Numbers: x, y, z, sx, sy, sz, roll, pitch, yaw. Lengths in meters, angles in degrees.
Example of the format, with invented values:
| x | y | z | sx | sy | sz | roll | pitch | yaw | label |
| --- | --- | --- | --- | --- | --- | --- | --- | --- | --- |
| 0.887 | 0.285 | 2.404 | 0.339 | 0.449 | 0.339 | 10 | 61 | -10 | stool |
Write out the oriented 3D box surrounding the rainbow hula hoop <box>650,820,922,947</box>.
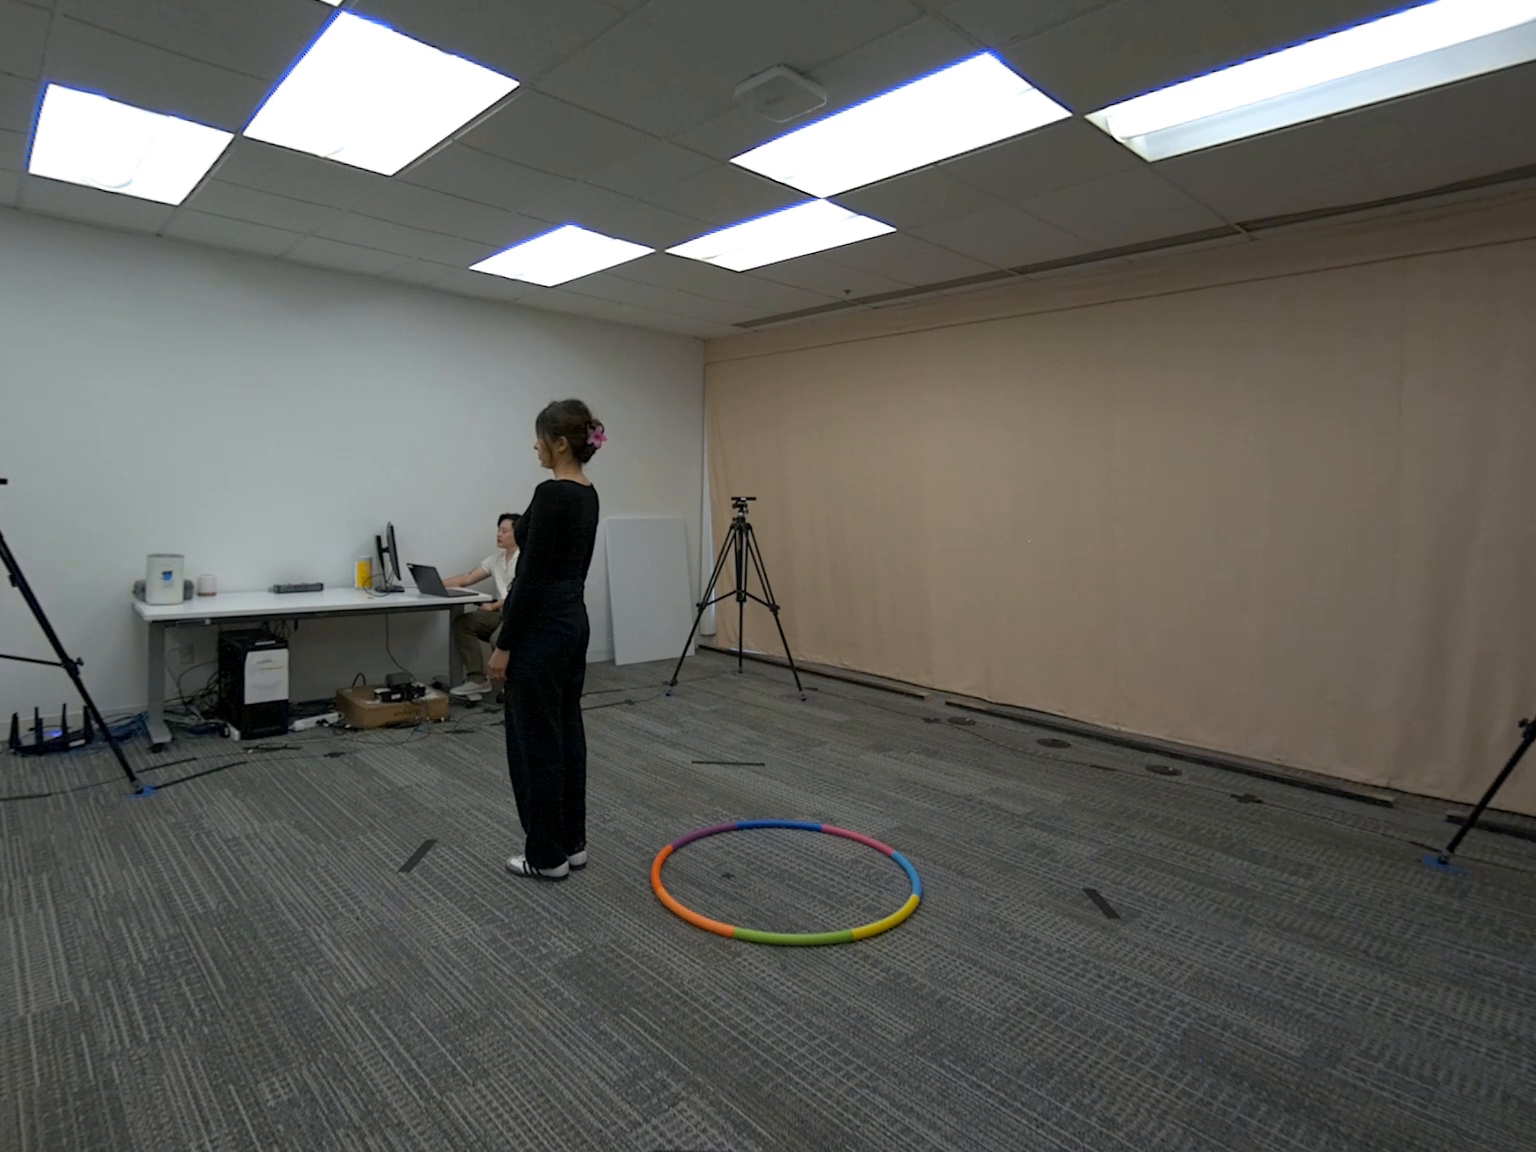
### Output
| x | y | z | sx | sy | sz | roll | pitch | yaw | label |
| --- | --- | --- | --- | --- | --- | --- | --- | --- | --- |
| 0.055 | 1.081 | 3.102 | 0.978 | 0.035 | 0.982 | 1 | 5 | -1 | rainbow hula hoop |
